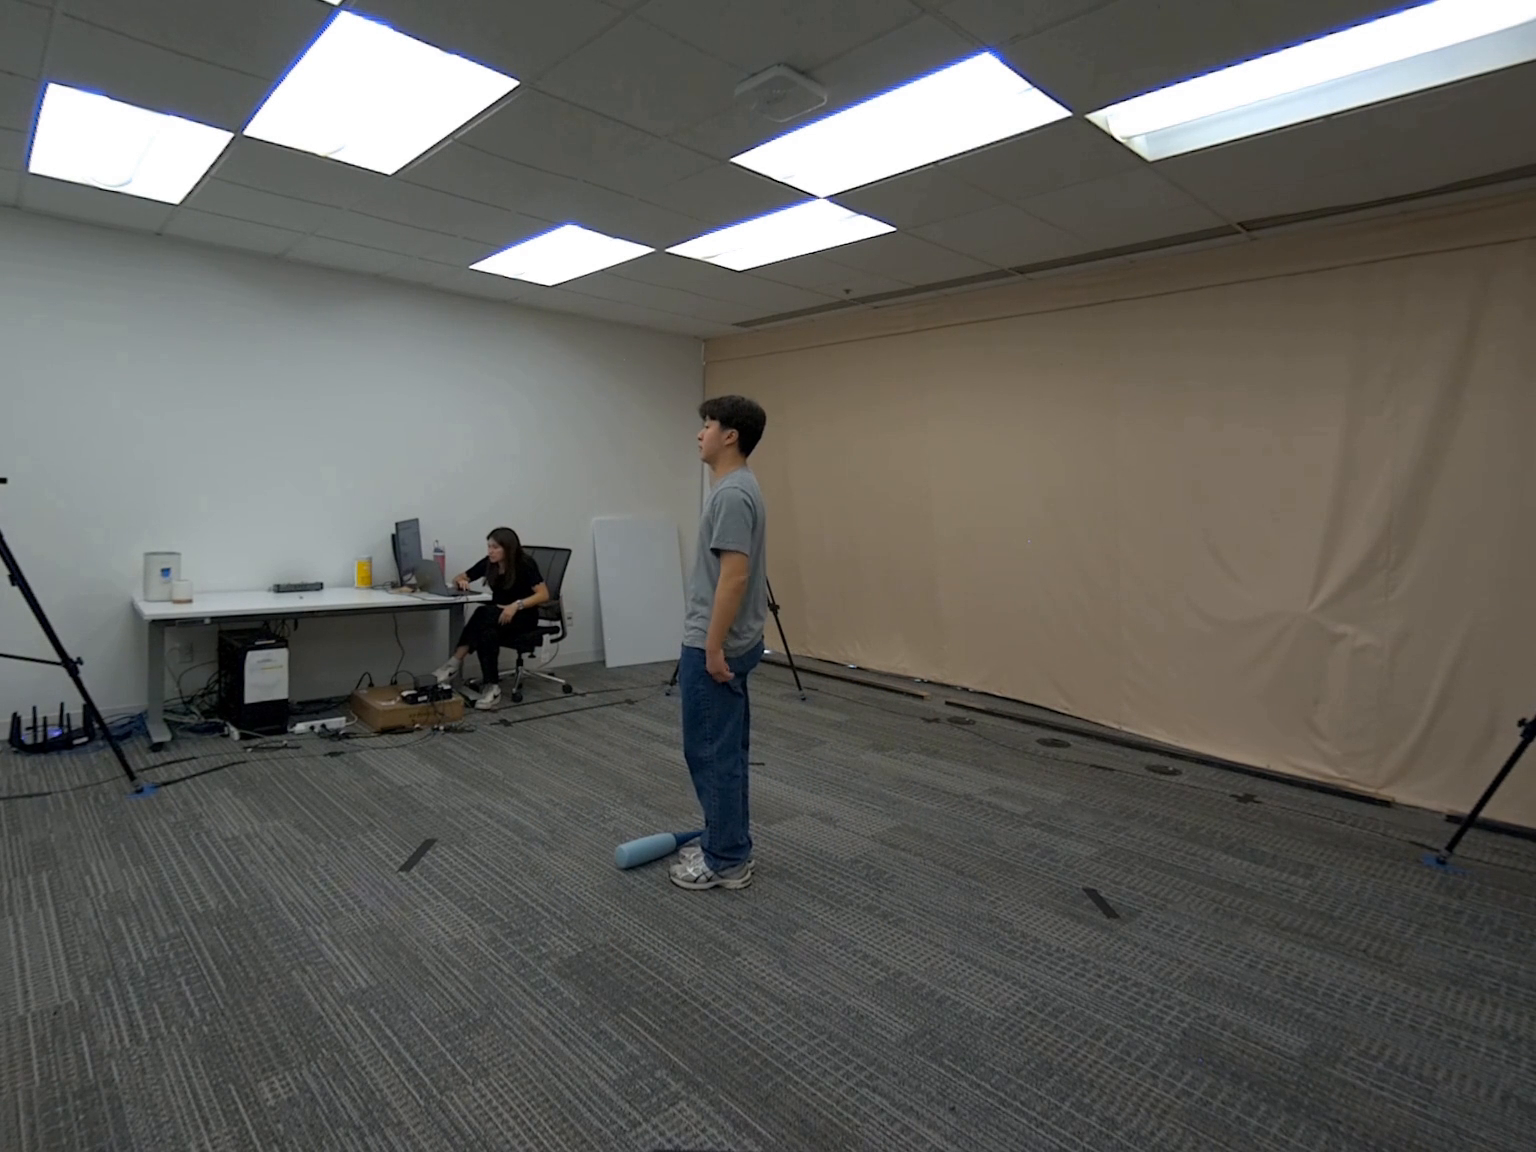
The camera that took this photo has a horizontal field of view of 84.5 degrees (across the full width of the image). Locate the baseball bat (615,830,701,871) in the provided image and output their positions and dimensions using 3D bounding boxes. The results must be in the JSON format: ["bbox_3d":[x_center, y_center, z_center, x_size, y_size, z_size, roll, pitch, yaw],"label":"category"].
[{"bbox_3d":[-0.375,1.047,3.312,0.091,0.089,0.530,5,3,43],"label":"baseball bat"}]
